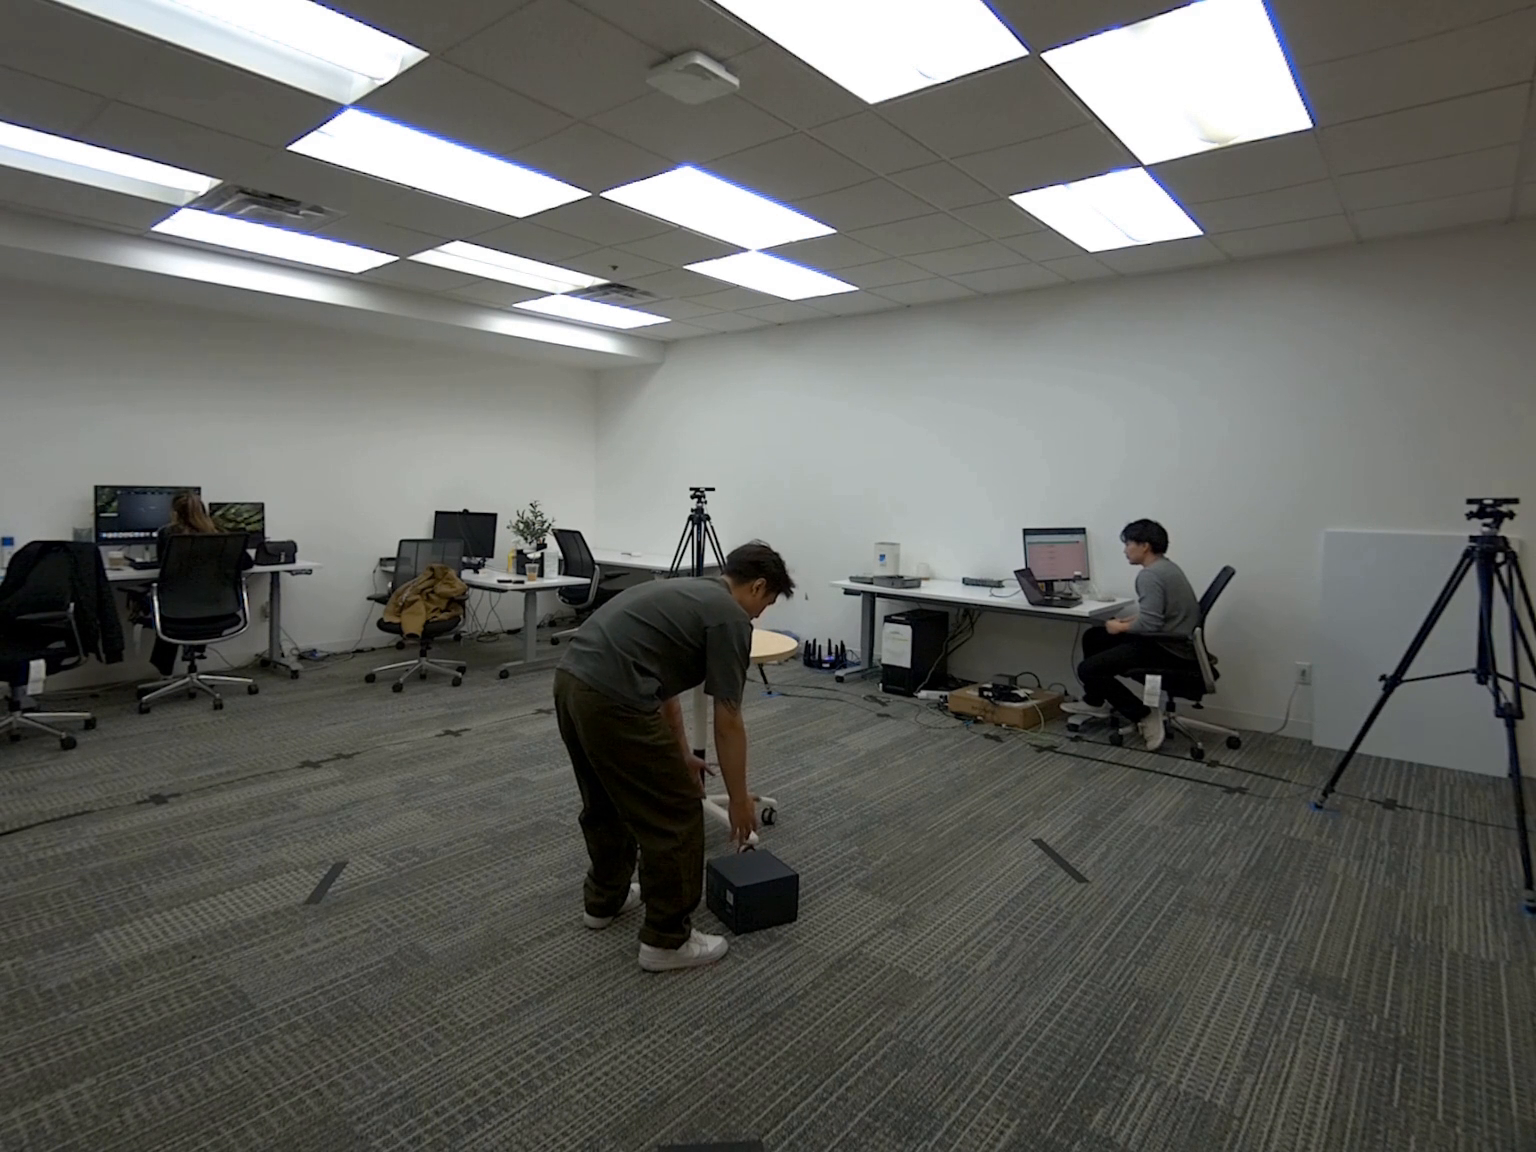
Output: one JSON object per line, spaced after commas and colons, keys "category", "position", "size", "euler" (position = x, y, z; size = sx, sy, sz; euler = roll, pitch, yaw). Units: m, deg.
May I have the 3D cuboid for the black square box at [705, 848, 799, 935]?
{"category": "black square box", "position": [-0.061, 1.018, 2.776], "size": [0.222, 0.155, 0.224], "euler": [-1, 5, -30]}
